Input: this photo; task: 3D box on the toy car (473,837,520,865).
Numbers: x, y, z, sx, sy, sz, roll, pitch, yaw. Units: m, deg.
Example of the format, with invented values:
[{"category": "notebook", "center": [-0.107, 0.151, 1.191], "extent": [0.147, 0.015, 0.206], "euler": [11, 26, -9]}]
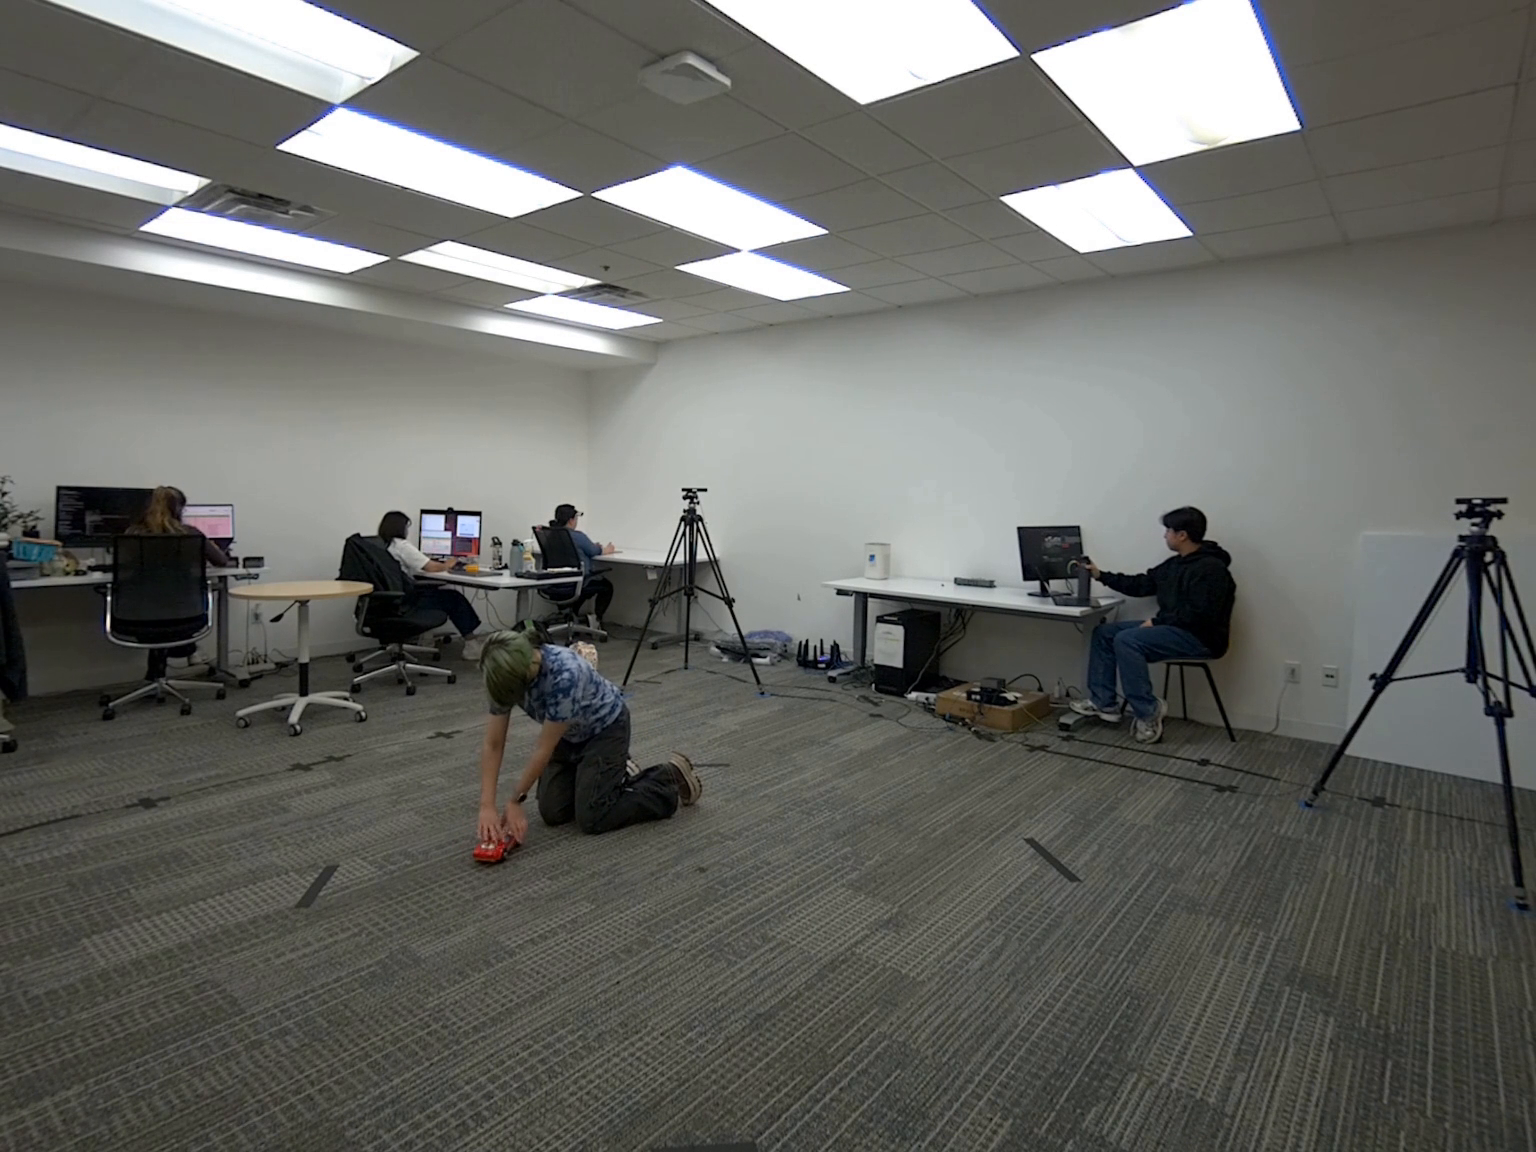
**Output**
[{"category": "toy car", "center": [-1.040, 1.019, 3.195], "extent": [0.131, 0.084, 0.250], "euler": [-1, -8, 6]}]
